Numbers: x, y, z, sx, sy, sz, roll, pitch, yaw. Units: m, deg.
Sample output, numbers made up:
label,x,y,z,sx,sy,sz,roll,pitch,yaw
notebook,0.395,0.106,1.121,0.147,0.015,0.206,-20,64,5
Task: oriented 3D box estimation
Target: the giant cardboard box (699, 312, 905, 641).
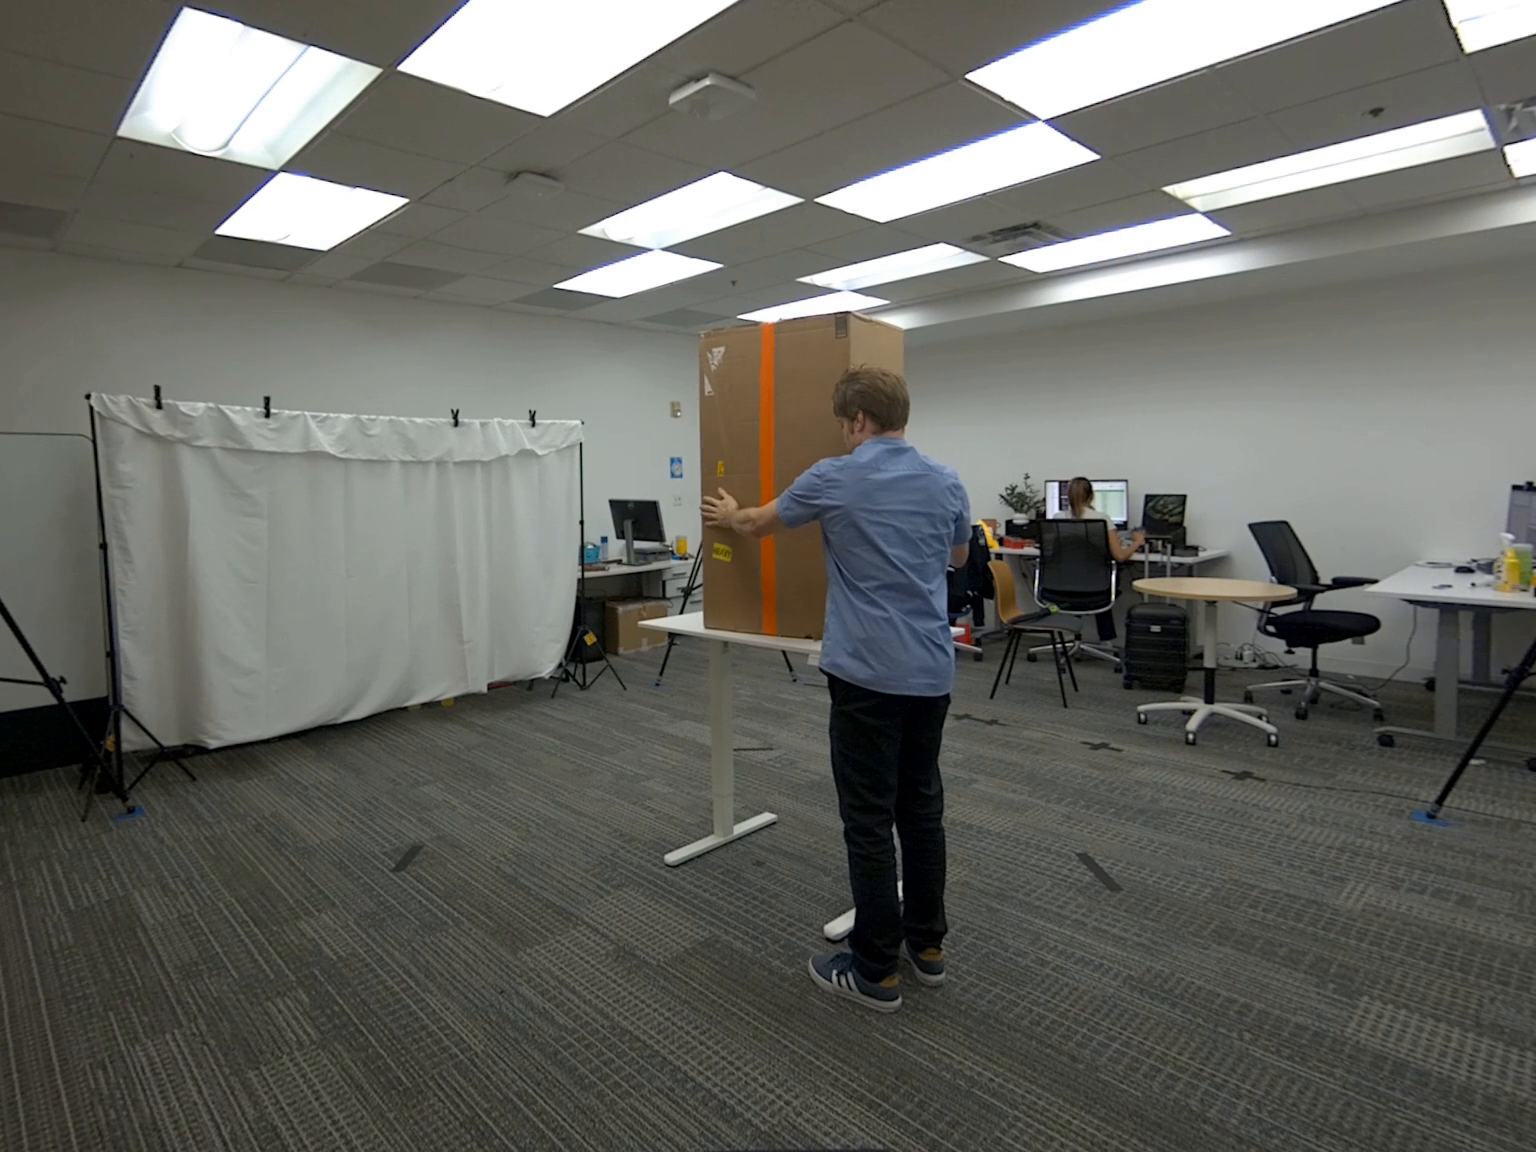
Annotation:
label,x,y,z,sx,sy,sz,roll,pitch,yaw
giant cardboard box,0.117,-0.328,2.947,0.594,1.022,0.415,2,4,35
